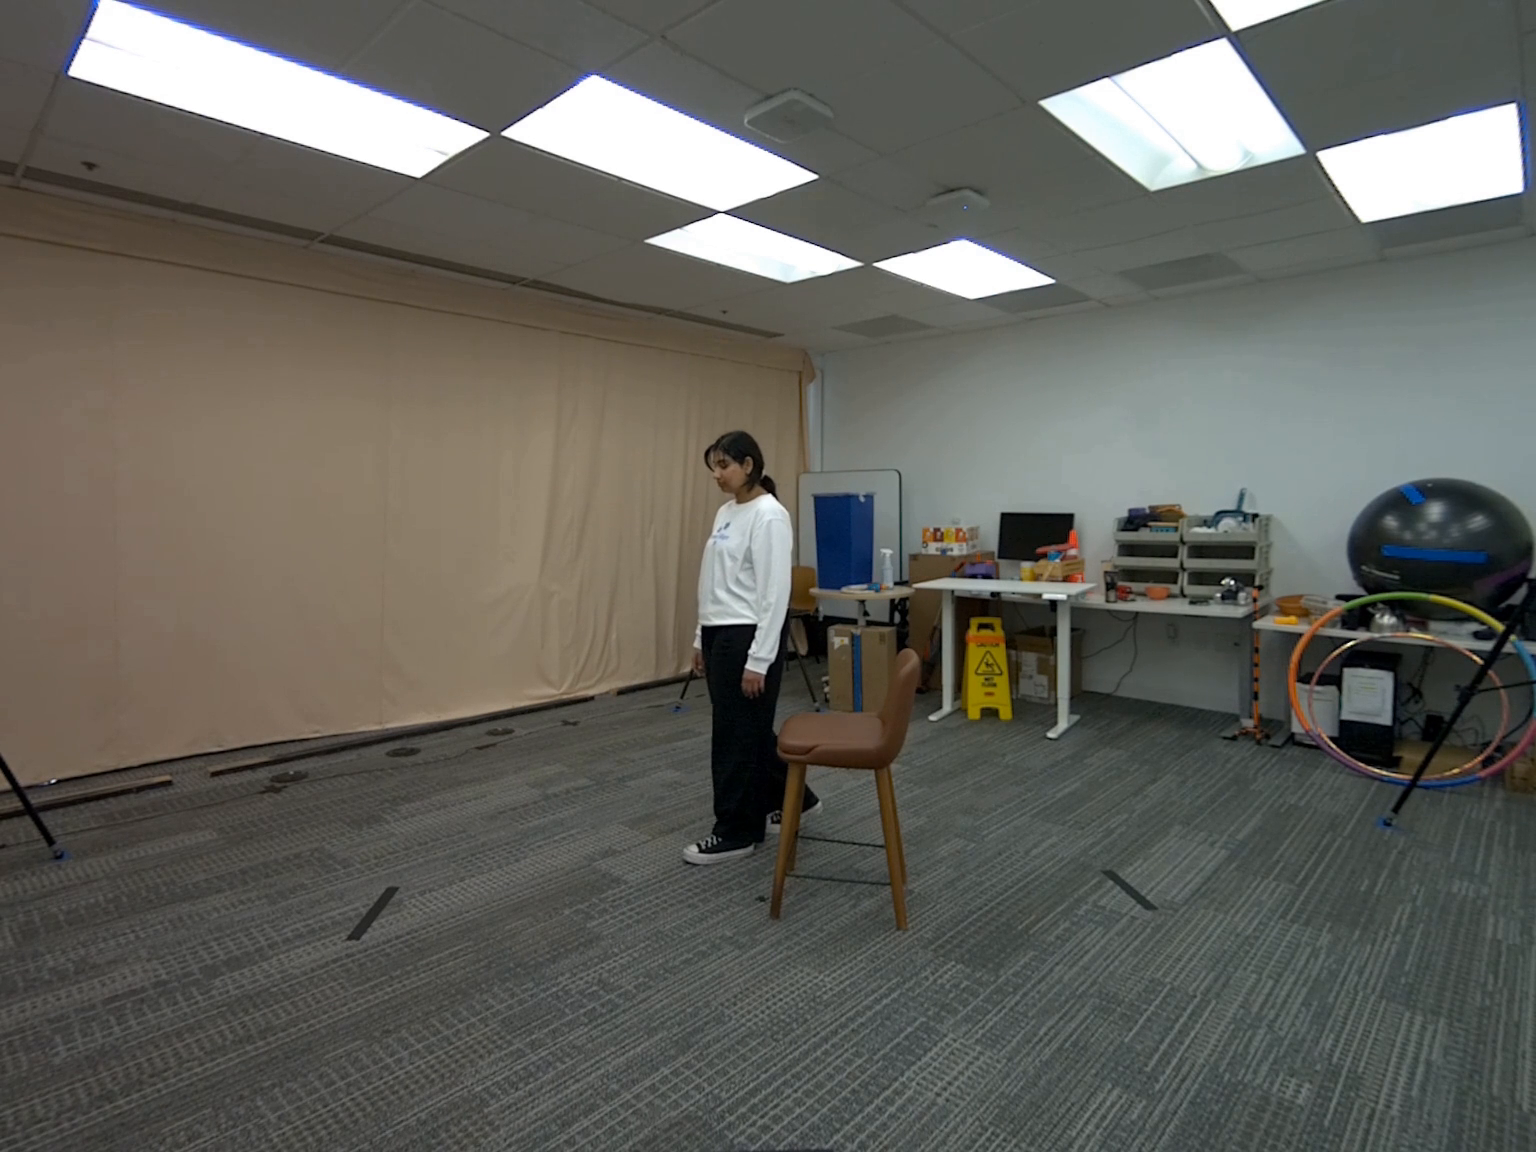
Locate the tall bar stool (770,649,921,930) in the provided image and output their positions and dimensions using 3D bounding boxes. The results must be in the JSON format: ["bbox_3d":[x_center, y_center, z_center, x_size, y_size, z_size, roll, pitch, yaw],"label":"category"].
[{"bbox_3d":[0.275,0.708,2.959,0.474,0.888,0.451,2,4,12],"label":"tall bar stool"}]
